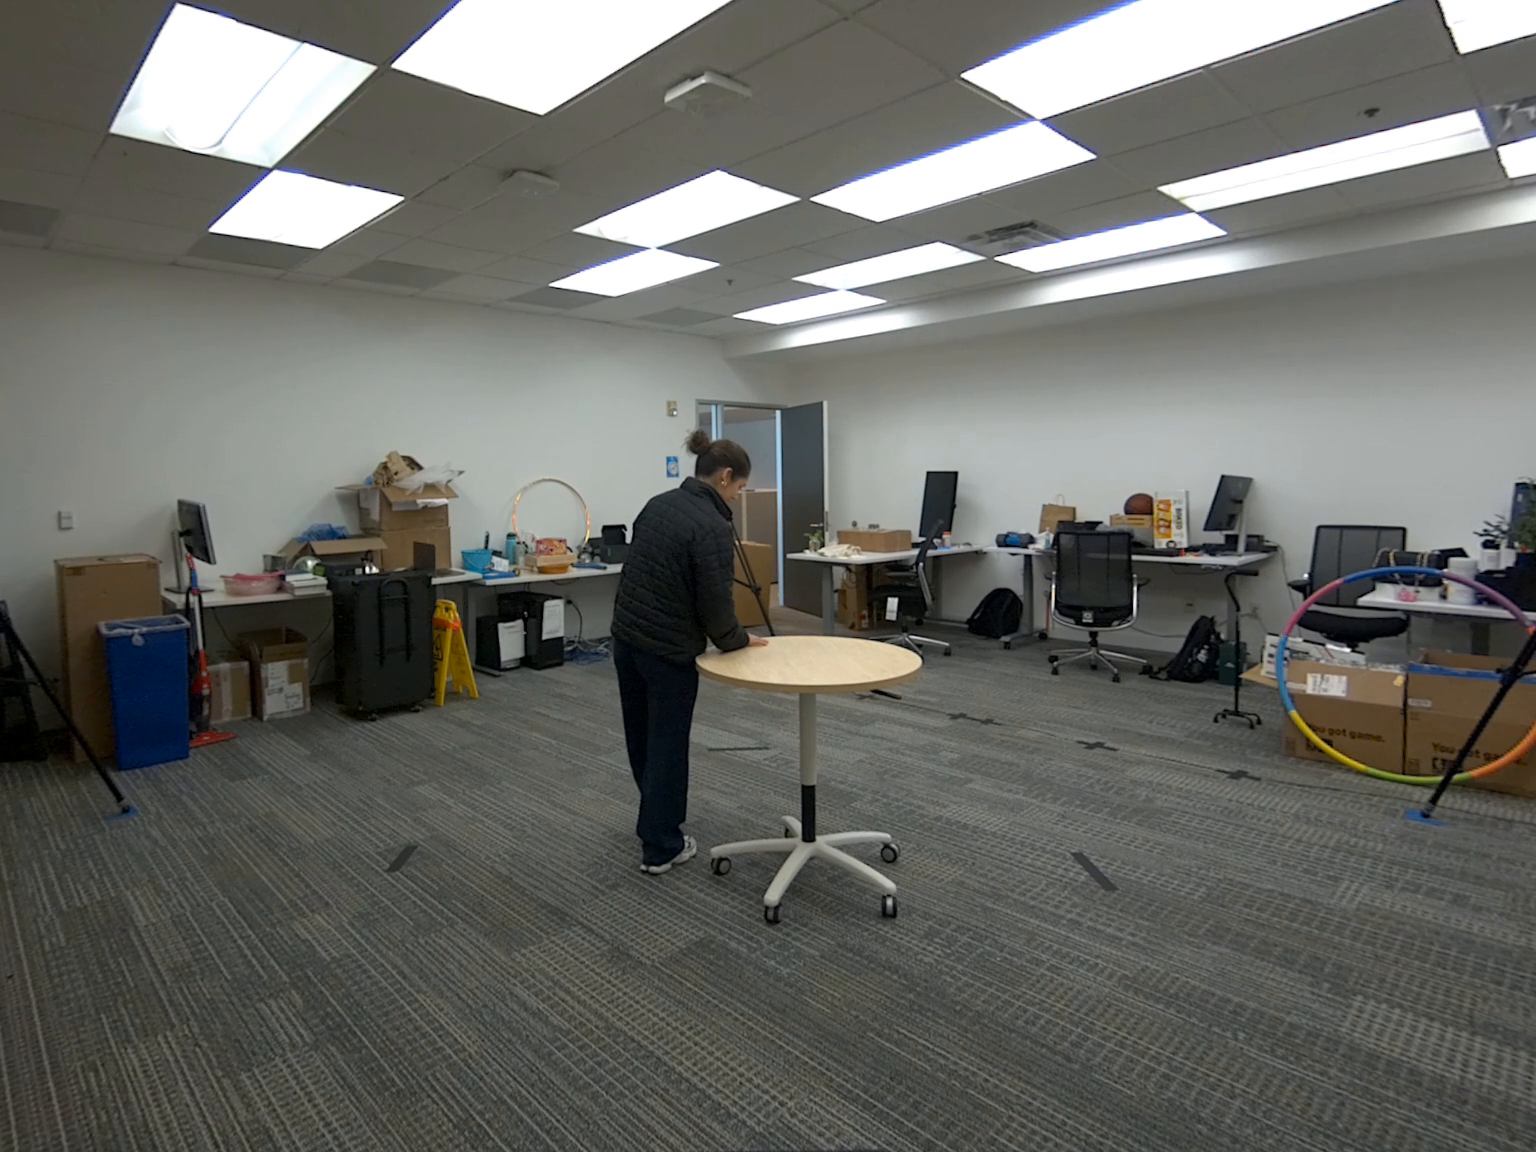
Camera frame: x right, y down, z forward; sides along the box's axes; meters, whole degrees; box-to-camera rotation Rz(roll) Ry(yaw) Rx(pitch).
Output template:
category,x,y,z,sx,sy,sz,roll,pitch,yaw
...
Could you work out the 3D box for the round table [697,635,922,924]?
category,x,y,z,sx,sy,sz,roll,pitch,yaw
round table,0.132,0.665,2.941,0.784,0.783,0.789,-1,5,-2
